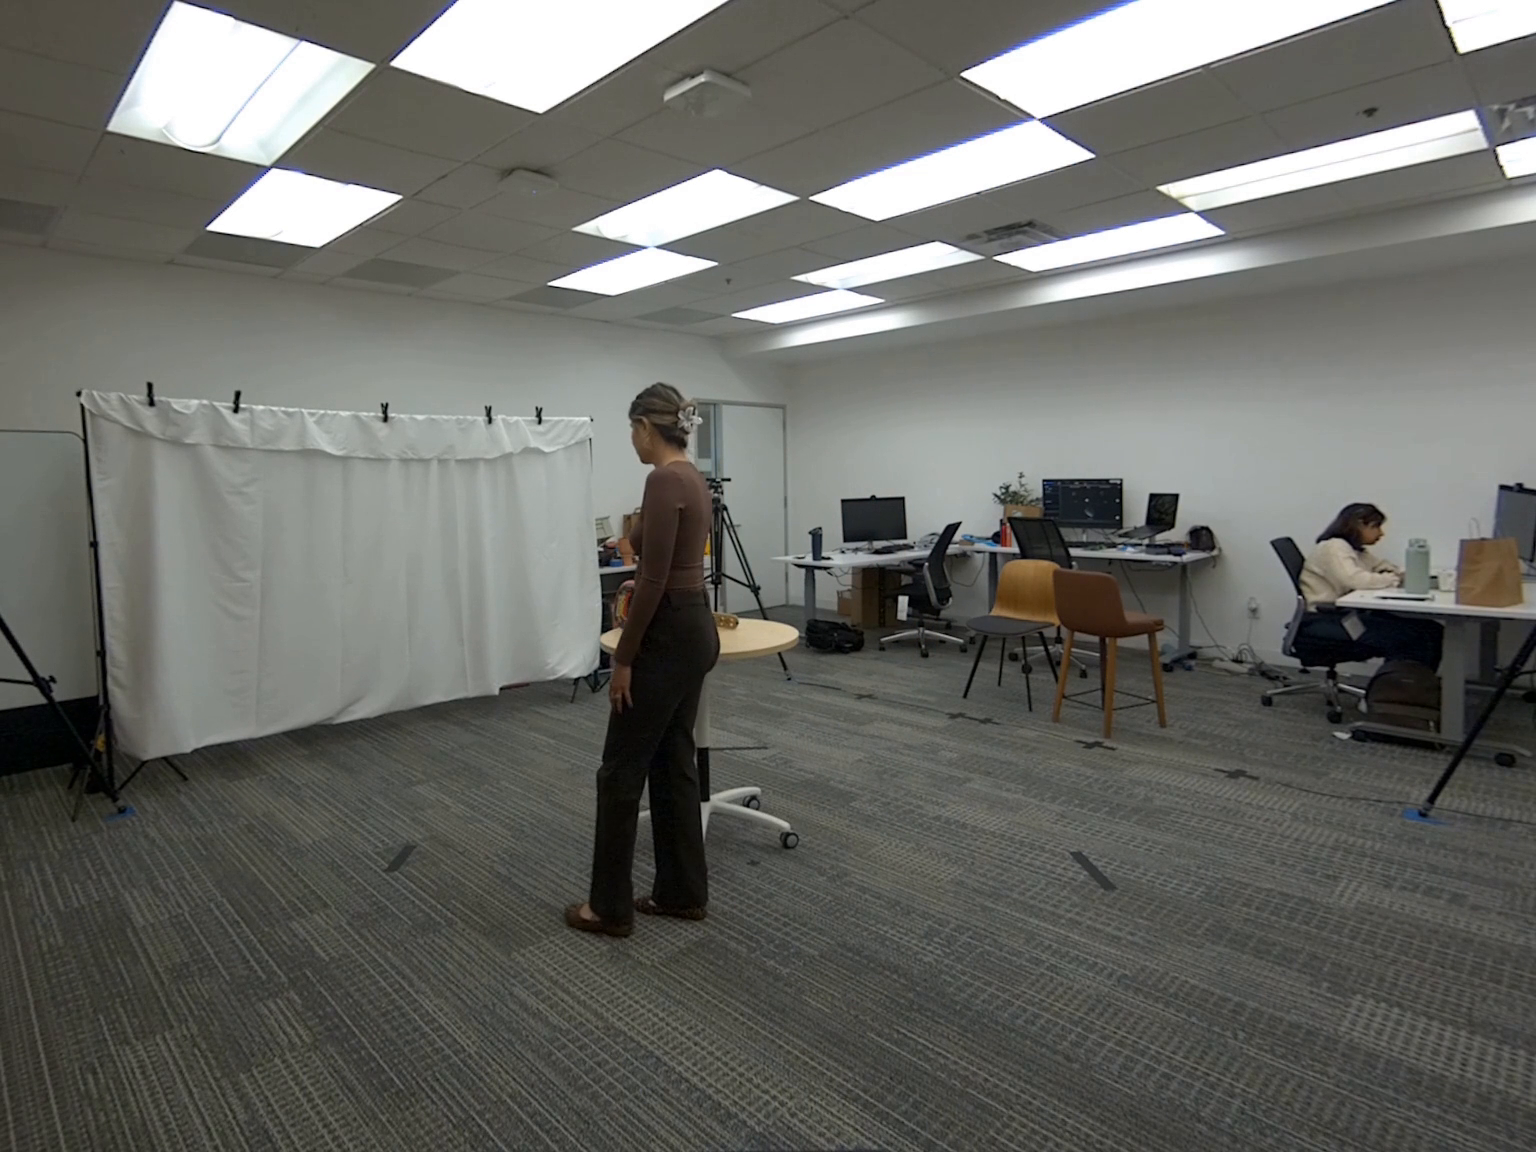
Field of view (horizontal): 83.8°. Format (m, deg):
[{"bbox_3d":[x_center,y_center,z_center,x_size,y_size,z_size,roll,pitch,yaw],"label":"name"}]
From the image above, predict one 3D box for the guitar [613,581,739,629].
[{"bbox_3d":[-0.360,0.171,3.419,0.497,0.192,0.071,17,4,0],"label":"guitar"}]
